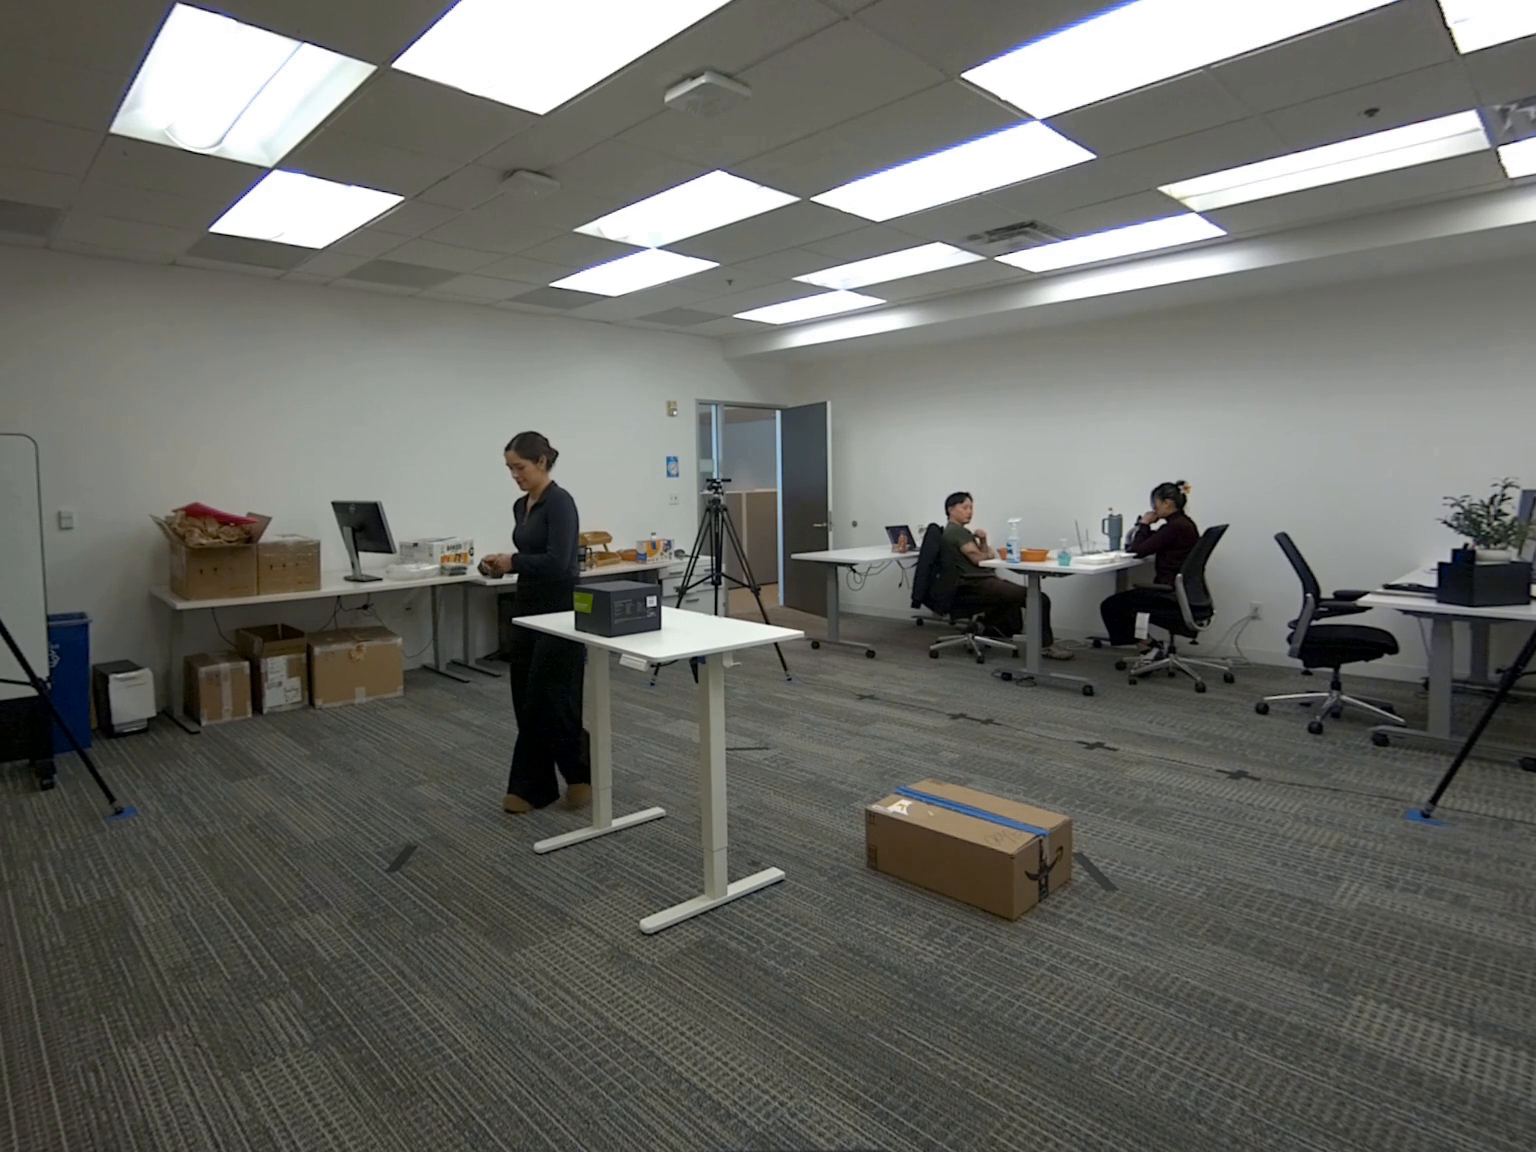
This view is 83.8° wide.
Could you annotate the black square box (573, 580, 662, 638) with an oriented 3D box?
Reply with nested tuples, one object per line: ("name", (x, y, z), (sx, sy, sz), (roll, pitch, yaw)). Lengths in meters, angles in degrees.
("black square box", (-0.517, 0.109, 2.959), (0.211, 0.155, 0.235), (-6, 7, -42))
